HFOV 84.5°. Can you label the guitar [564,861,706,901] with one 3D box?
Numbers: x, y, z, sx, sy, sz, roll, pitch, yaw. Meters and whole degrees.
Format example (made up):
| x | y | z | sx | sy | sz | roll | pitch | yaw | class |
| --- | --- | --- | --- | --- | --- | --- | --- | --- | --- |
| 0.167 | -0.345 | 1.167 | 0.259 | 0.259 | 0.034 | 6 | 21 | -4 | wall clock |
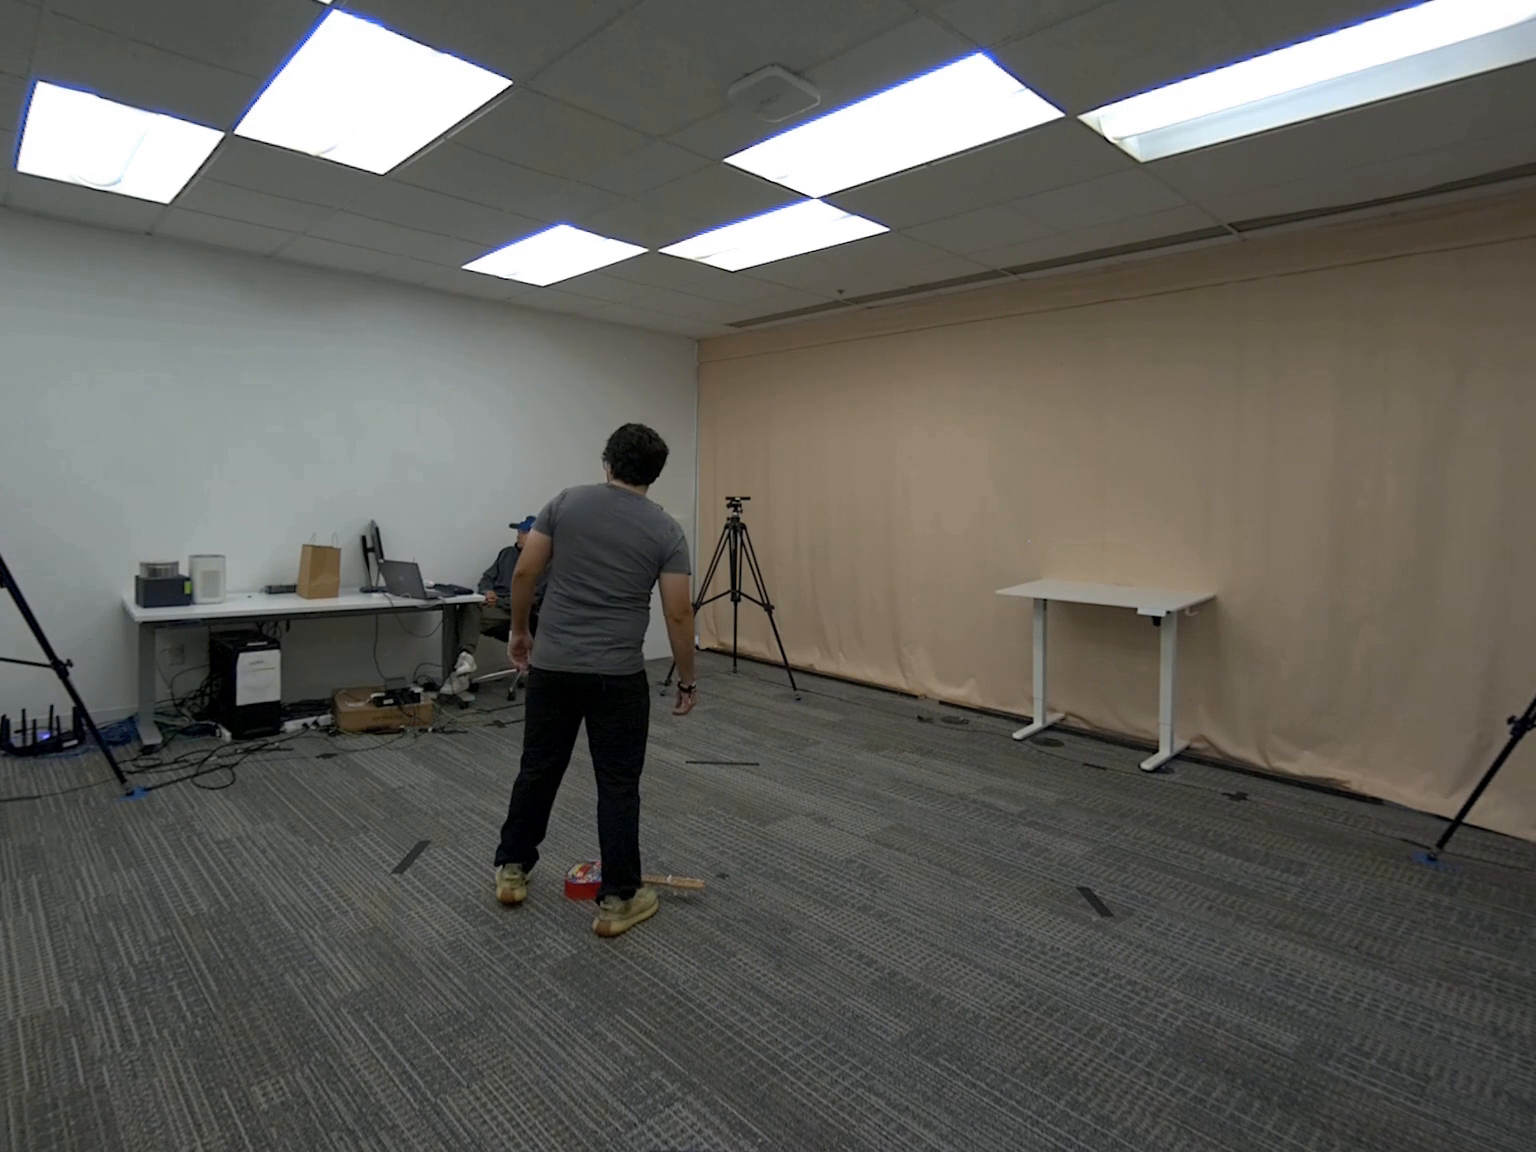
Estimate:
| x | y | z | sx | sy | sz | roll | pitch | yaw | class |
| --- | --- | --- | --- | --- | --- | --- | --- | --- | --- |
| -0.478 | 1.085 | 2.922 | 0.506 | 0.070 | 0.190 | 3 | 5 | 19 | guitar |
